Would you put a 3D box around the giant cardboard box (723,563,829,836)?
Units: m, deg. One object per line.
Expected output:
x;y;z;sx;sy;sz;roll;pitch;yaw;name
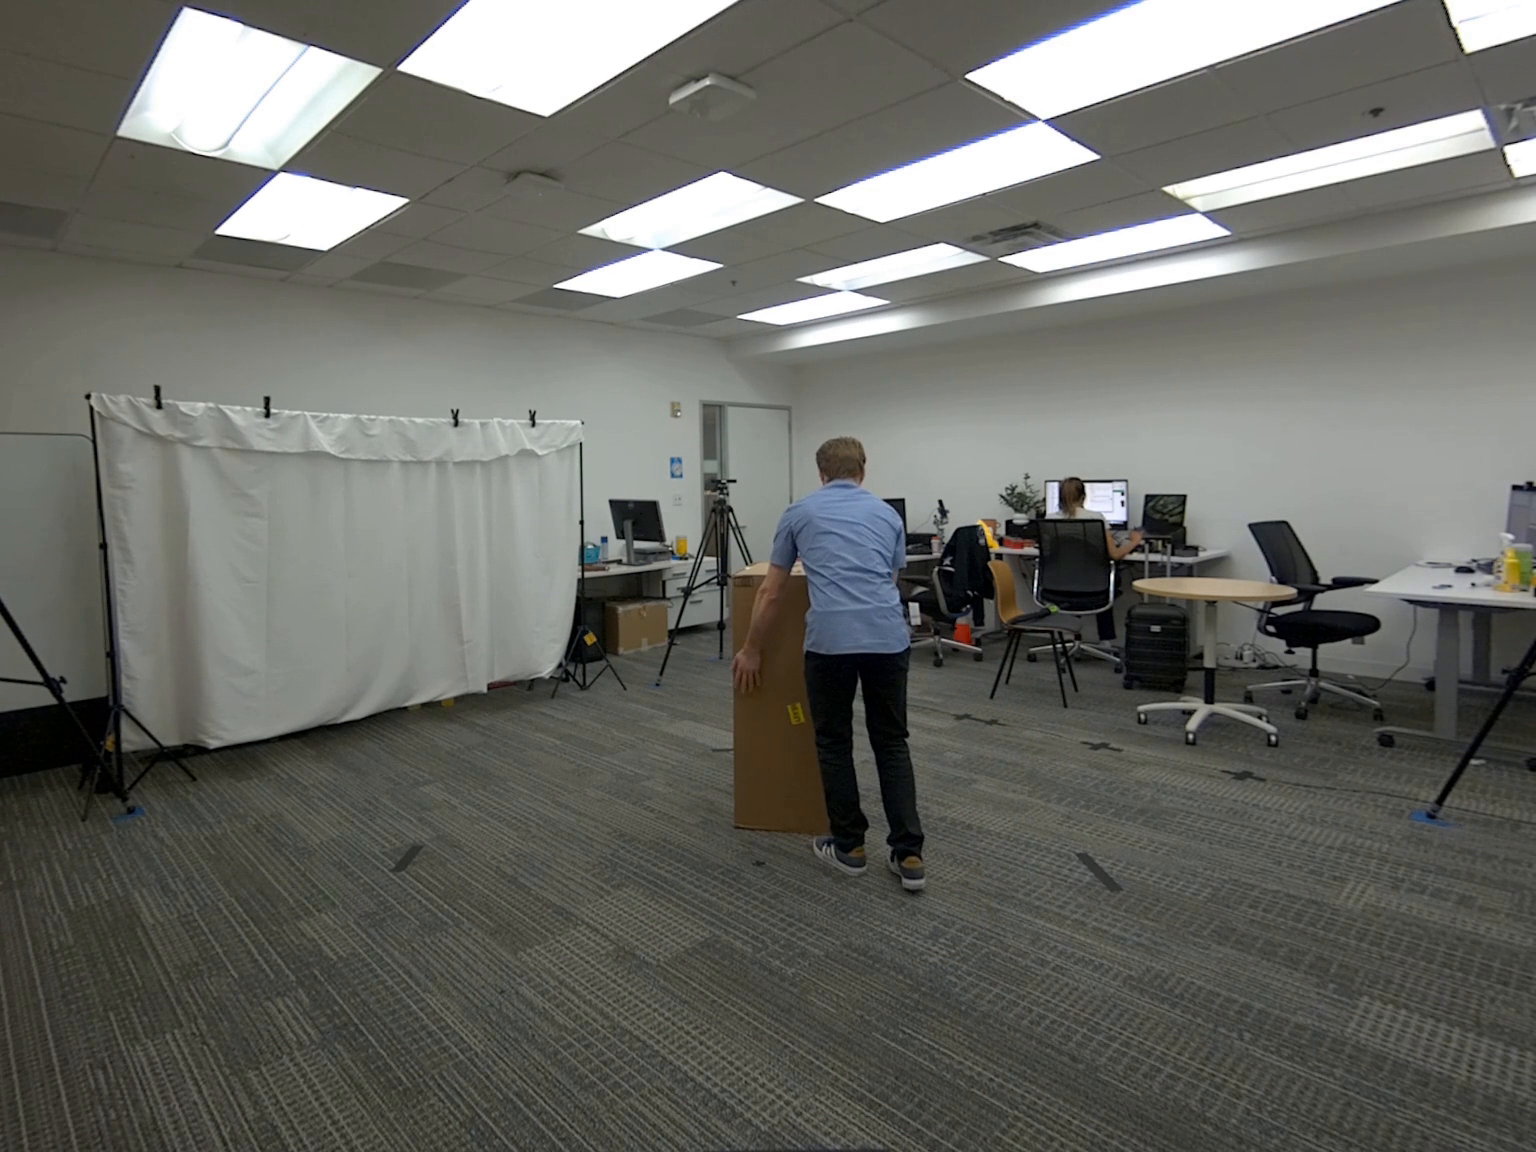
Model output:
0.113;0.479;3.635;0.432;1.023;0.572;1;3;12;giant cardboard box
